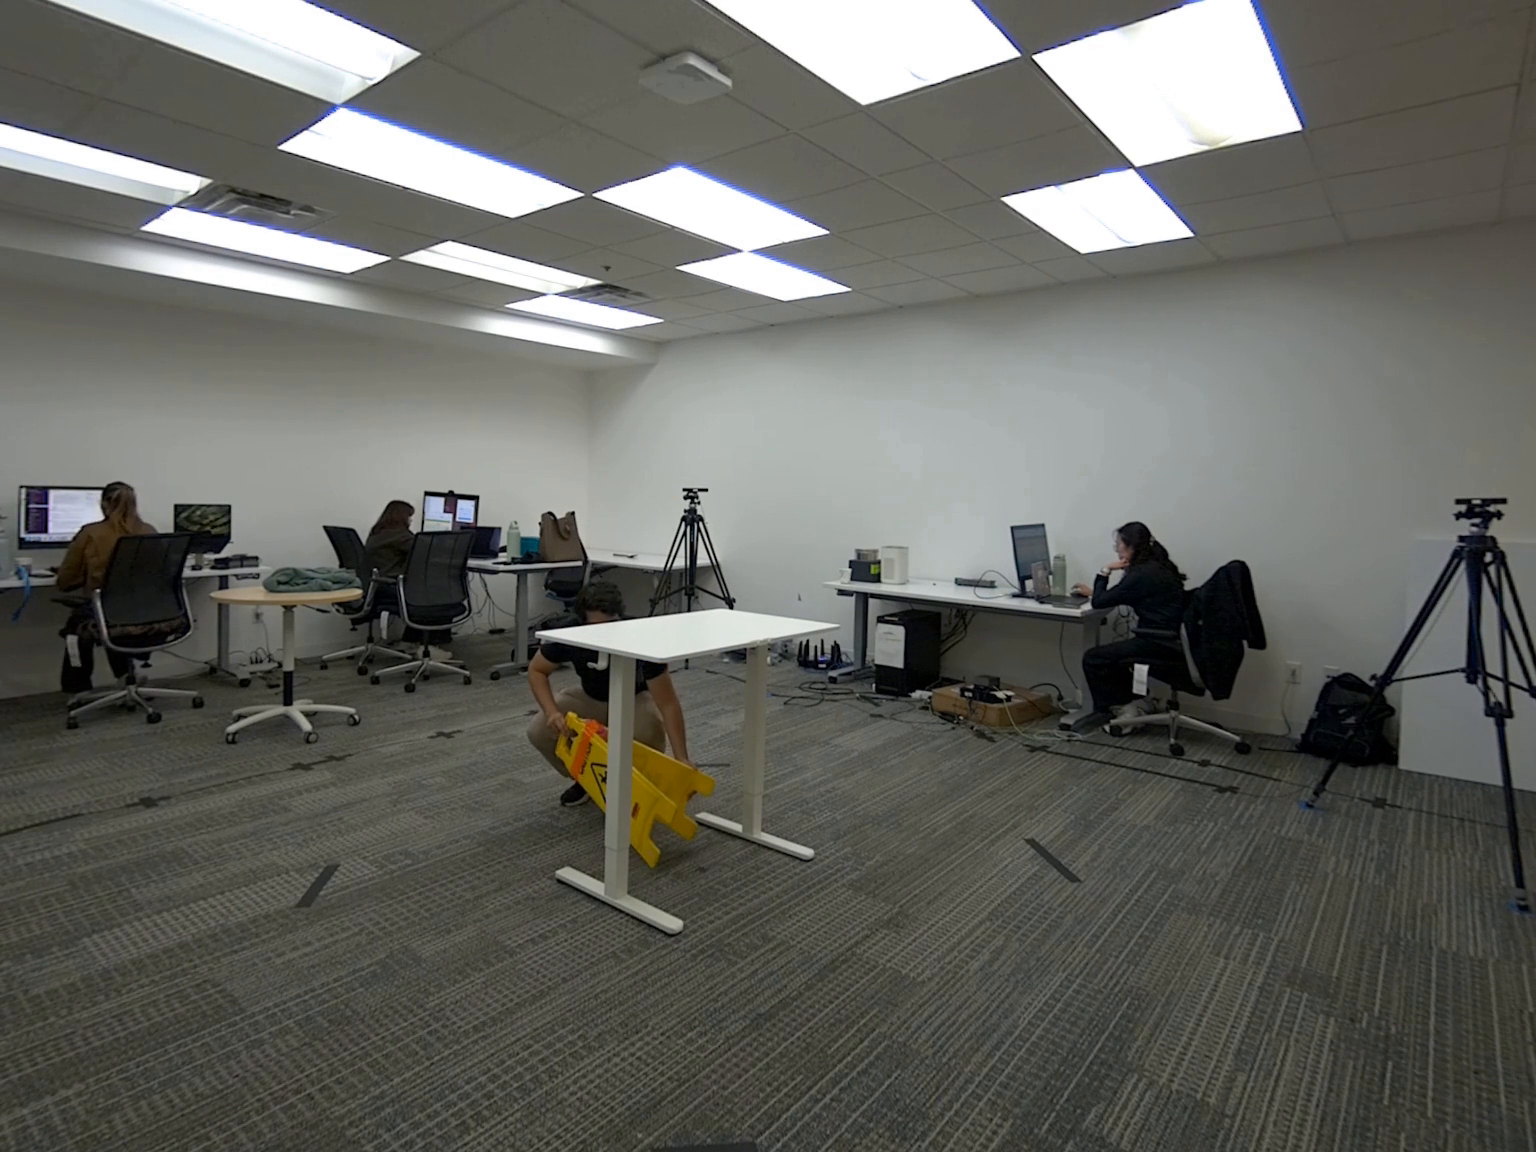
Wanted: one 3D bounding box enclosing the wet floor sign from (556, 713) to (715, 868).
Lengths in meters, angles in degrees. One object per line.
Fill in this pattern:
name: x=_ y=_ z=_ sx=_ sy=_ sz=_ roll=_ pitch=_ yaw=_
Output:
wet floor sign: x=-0.577 y=0.765 z=3.289 sx=0.667 sy=0.279 sz=0.283 roll=29 pitch=21 yaw=25
